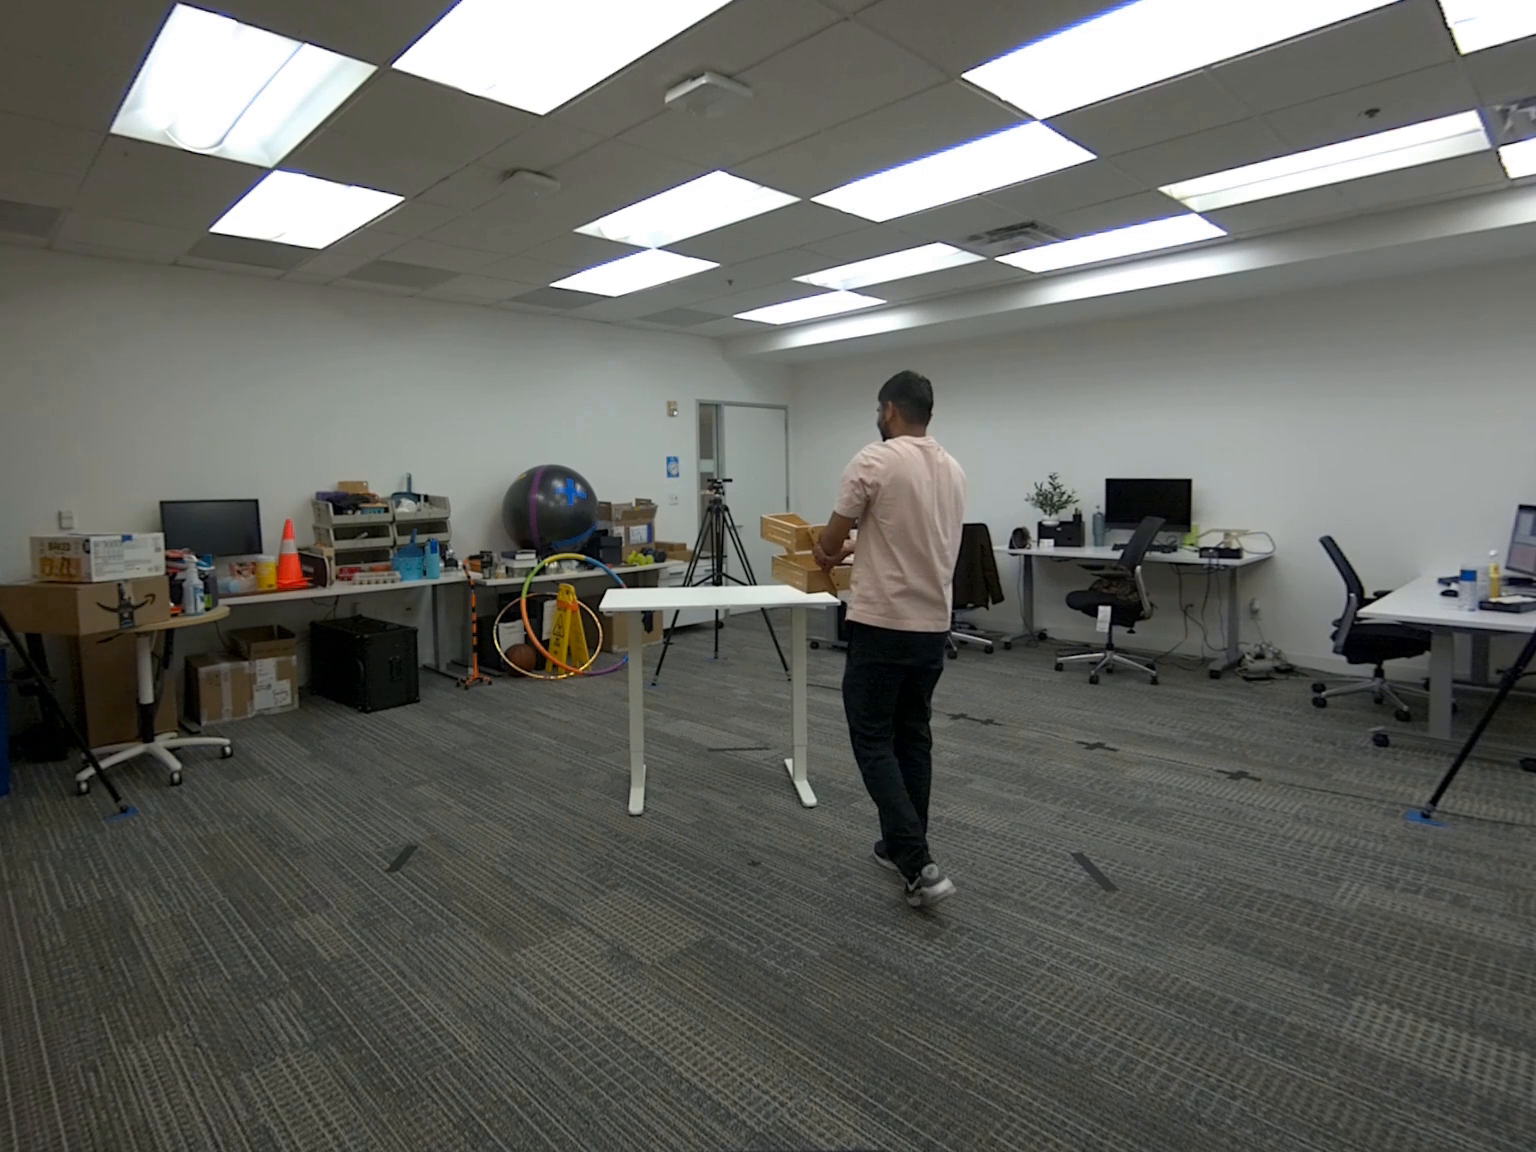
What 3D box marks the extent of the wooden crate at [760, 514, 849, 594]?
[{"bbox_3d":[0.174,-0.102,3.359,0.296,0.270,0.334,-5,13,-24],"label":"wooden crate"}]
